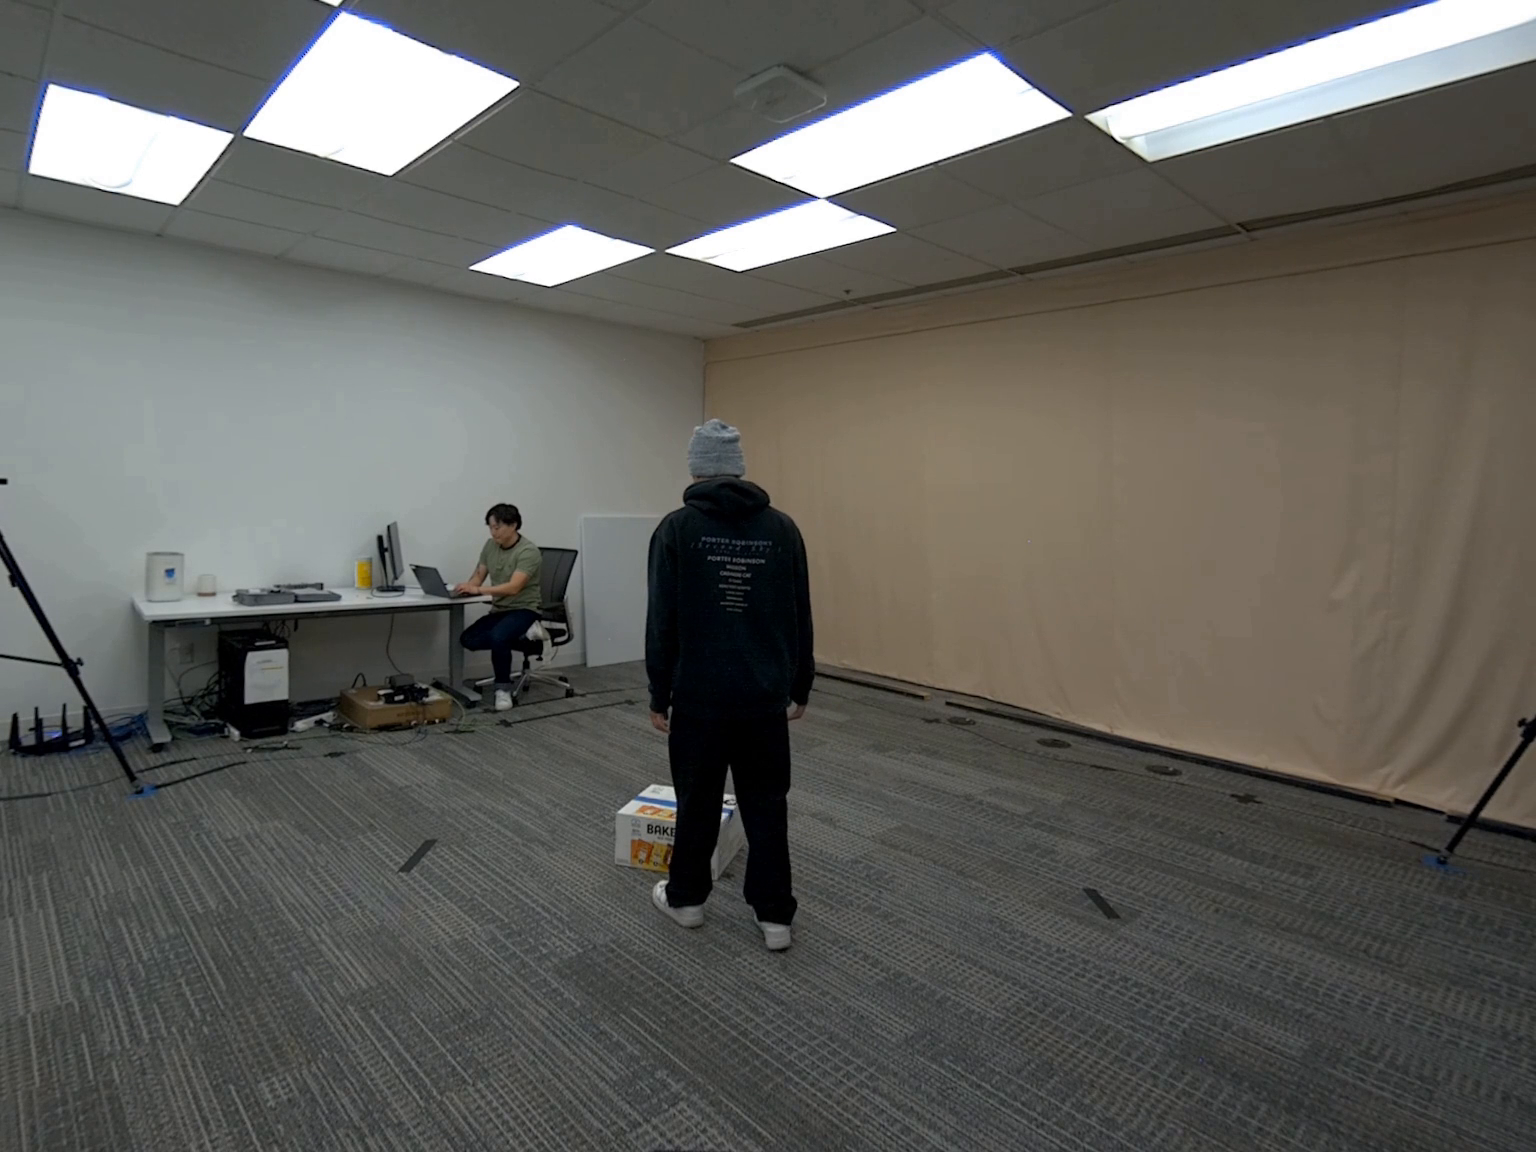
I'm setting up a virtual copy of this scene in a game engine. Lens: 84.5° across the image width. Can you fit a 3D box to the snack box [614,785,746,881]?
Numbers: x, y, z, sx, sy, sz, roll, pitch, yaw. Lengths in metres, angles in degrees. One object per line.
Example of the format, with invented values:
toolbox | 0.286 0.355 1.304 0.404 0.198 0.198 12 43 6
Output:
snack box | -0.343 0.987 3.268 0.411 0.205 0.337 3 5 16
